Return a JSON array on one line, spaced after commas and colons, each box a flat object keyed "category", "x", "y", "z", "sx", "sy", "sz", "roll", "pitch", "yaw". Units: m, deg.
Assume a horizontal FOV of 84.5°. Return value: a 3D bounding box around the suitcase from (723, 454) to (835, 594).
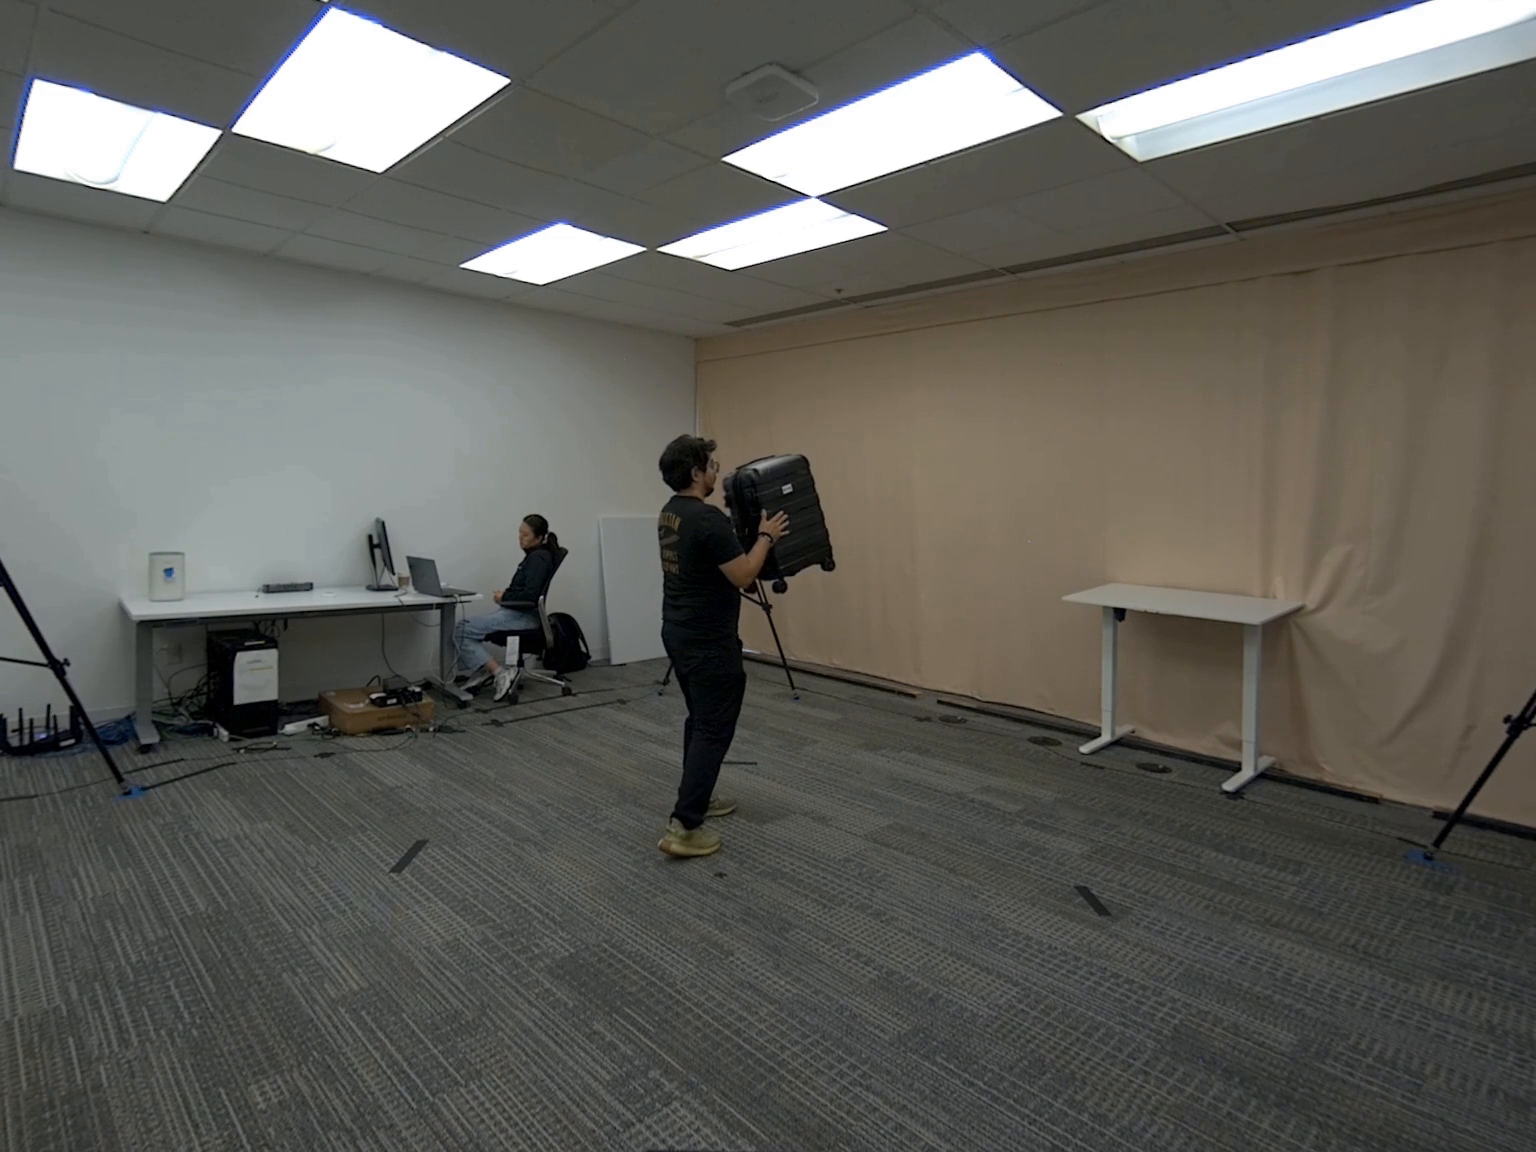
[{"category": "suitcase", "x": 0.035, "y": -0.243, "z": 3.658, "sx": 0.370, "sy": 0.545, "sz": 0.253, "roll": -20, "pitch": 10, "yaw": -37}]
